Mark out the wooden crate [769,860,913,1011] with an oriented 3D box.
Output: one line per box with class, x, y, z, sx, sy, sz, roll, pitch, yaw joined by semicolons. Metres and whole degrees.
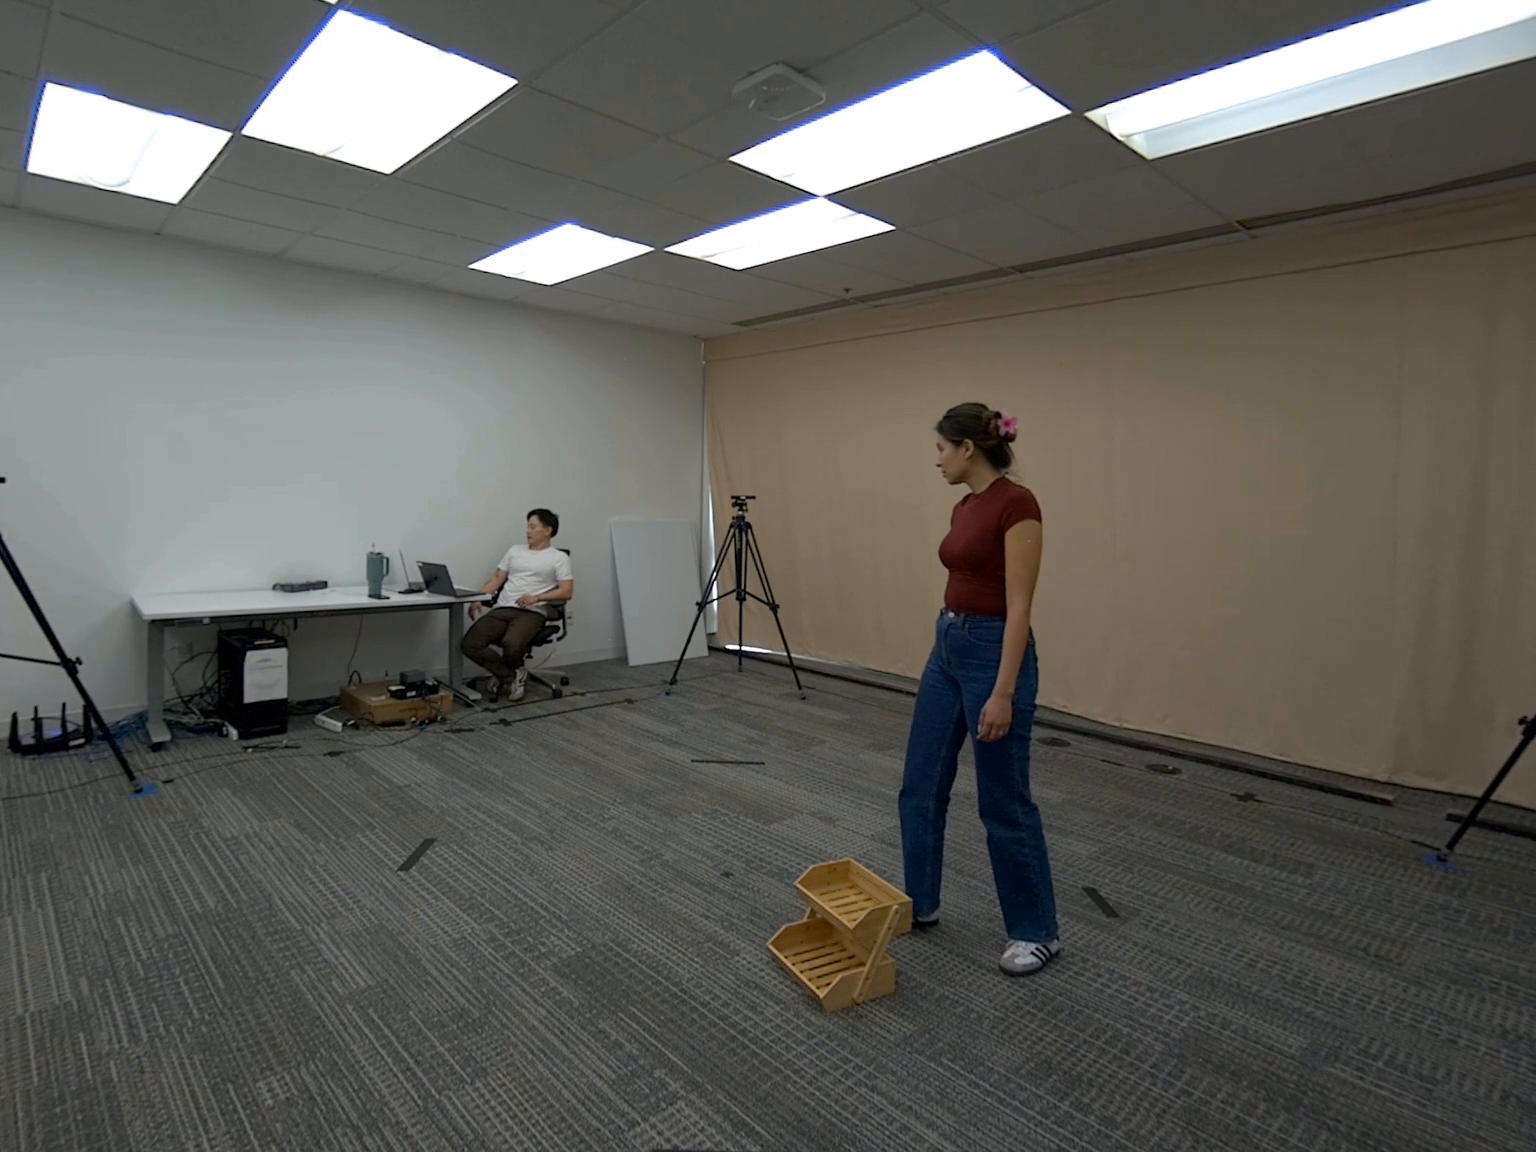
wooden crate;0.198;1.034;2.465;0.296;0.272;0.332;-1;5;-29
